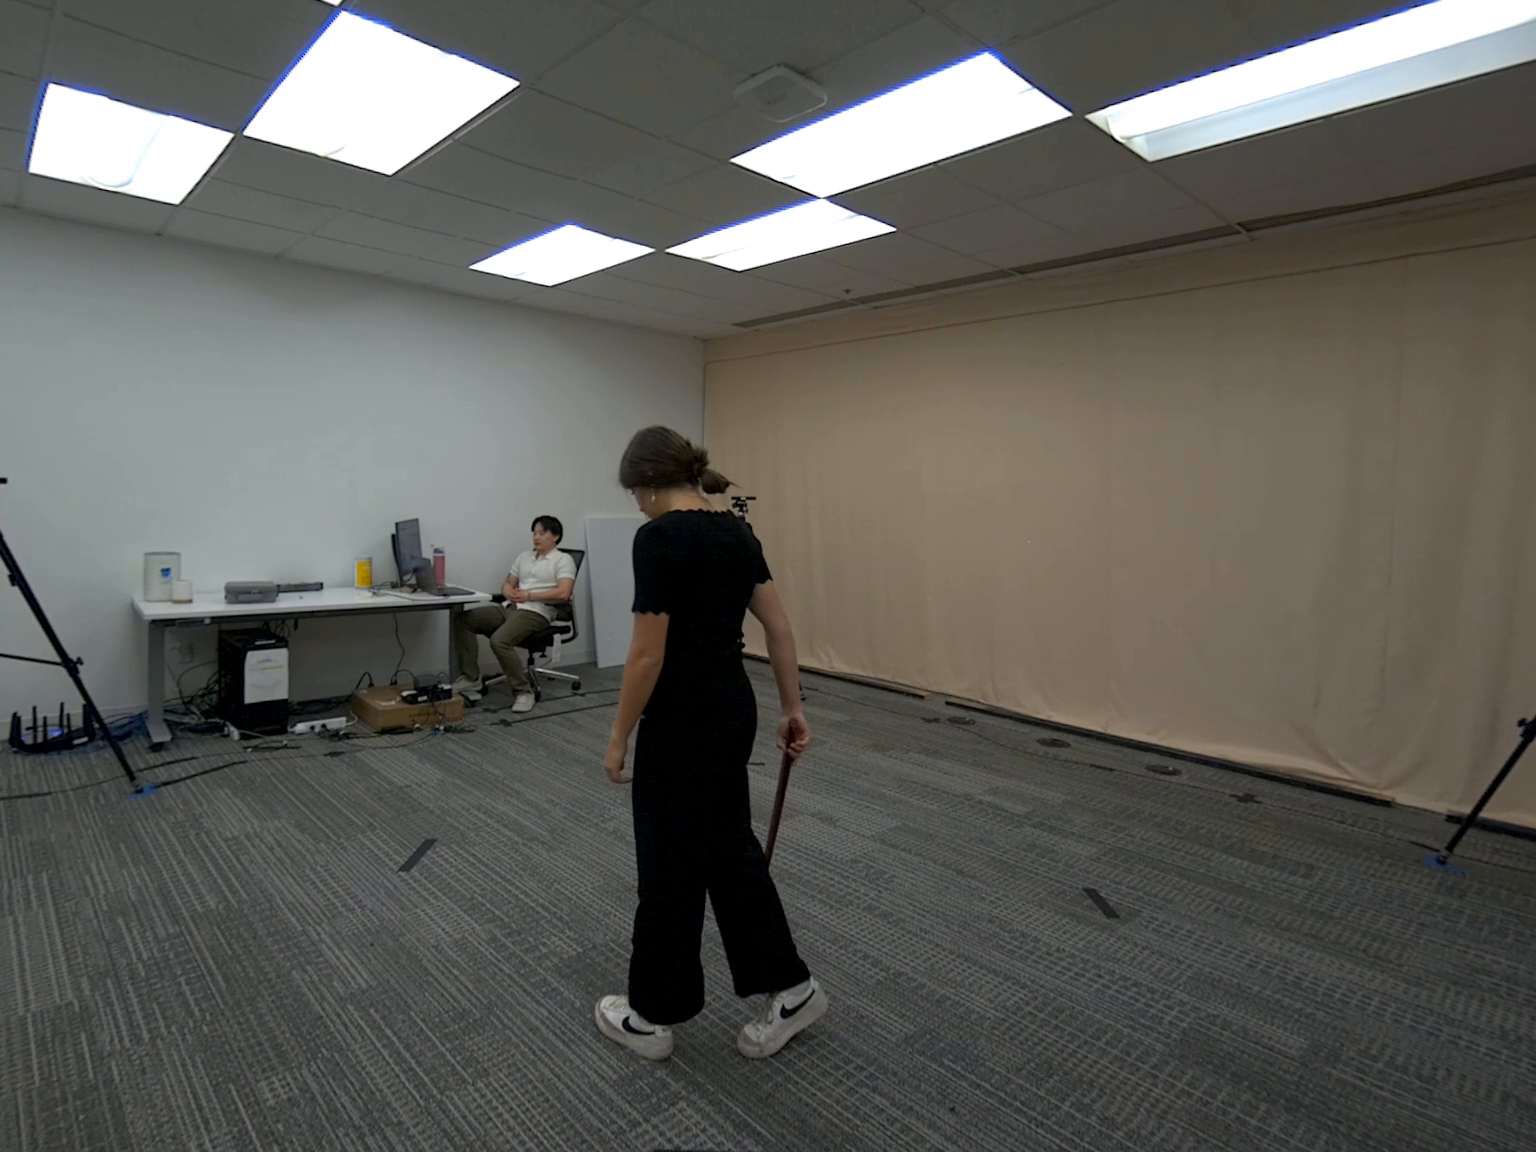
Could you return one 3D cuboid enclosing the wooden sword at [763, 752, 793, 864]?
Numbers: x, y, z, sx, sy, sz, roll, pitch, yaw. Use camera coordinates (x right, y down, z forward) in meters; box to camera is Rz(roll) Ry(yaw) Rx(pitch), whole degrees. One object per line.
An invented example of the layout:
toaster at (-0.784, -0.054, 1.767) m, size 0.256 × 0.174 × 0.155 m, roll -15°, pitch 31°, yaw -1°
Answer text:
wooden sword at (0.004, 0.776, 2.498) m, size 0.024 × 1.007 × 0.051 m, roll 30°, pitch 45°, yaw 19°
